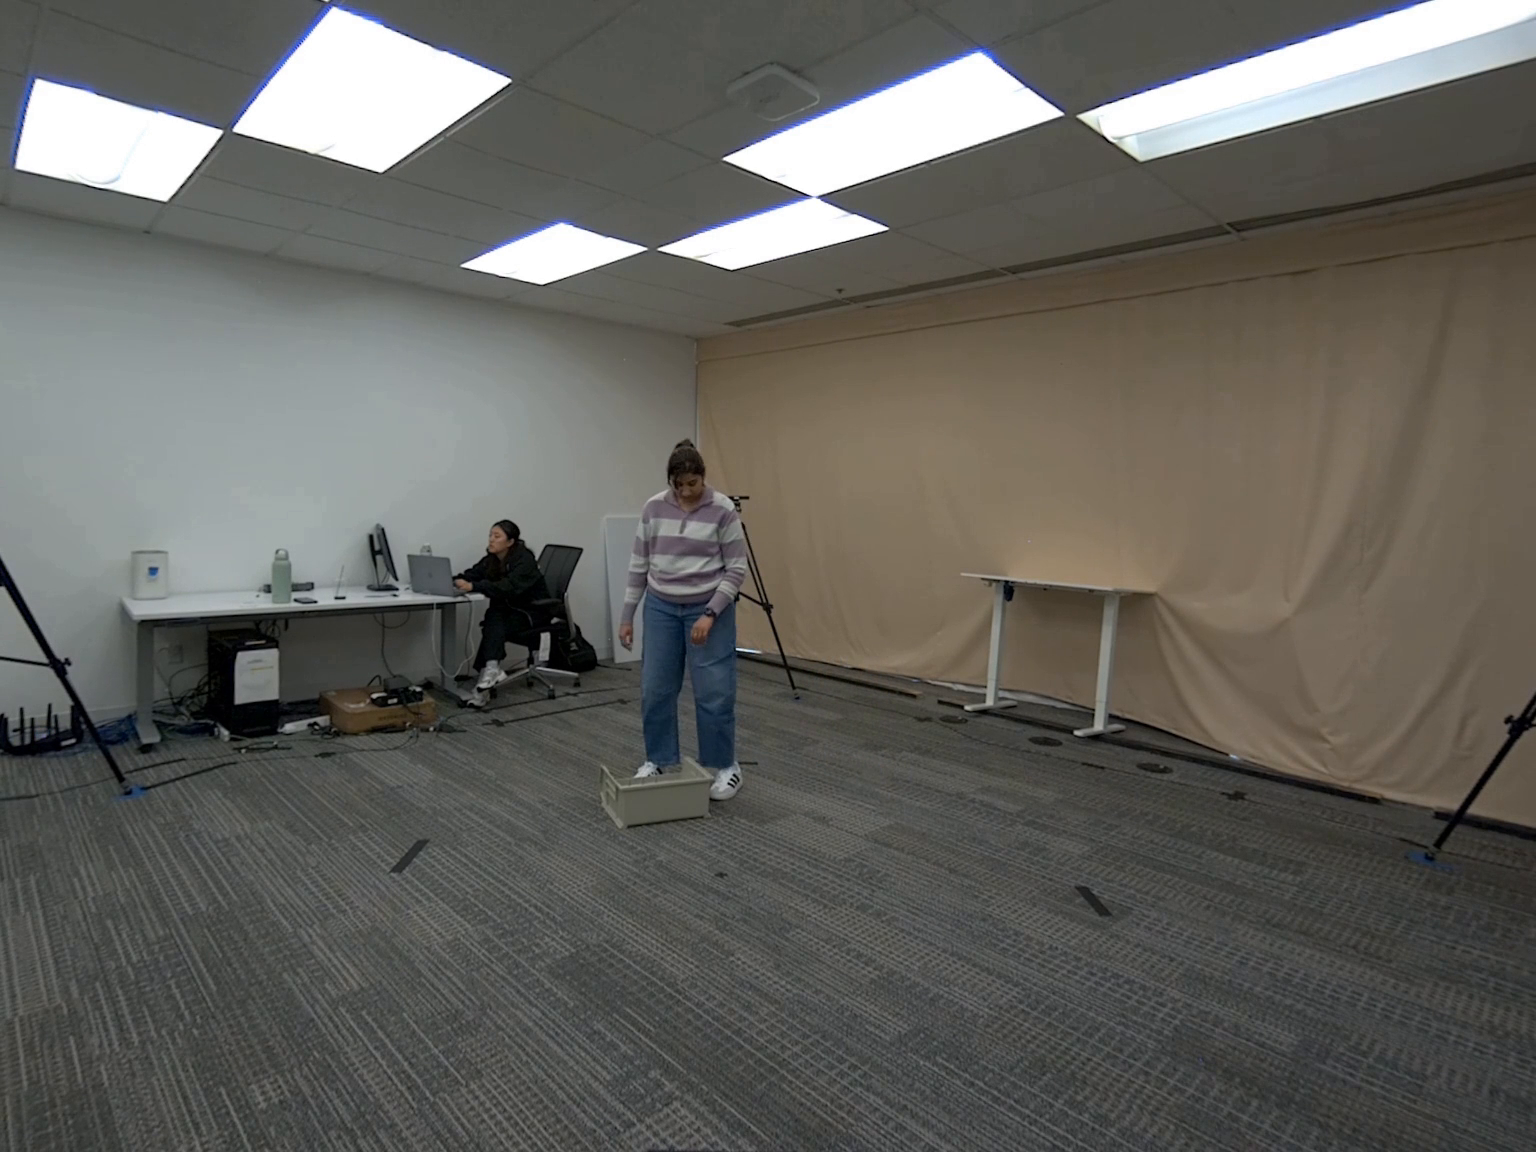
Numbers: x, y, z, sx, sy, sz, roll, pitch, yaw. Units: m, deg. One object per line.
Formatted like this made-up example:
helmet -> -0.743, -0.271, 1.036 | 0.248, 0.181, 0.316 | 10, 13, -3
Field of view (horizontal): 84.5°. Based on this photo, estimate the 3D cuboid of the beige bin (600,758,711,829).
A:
beige bin -> -0.519, 0.952, 3.747 | 0.415, 0.188, 0.385 | 0, 6, -25
